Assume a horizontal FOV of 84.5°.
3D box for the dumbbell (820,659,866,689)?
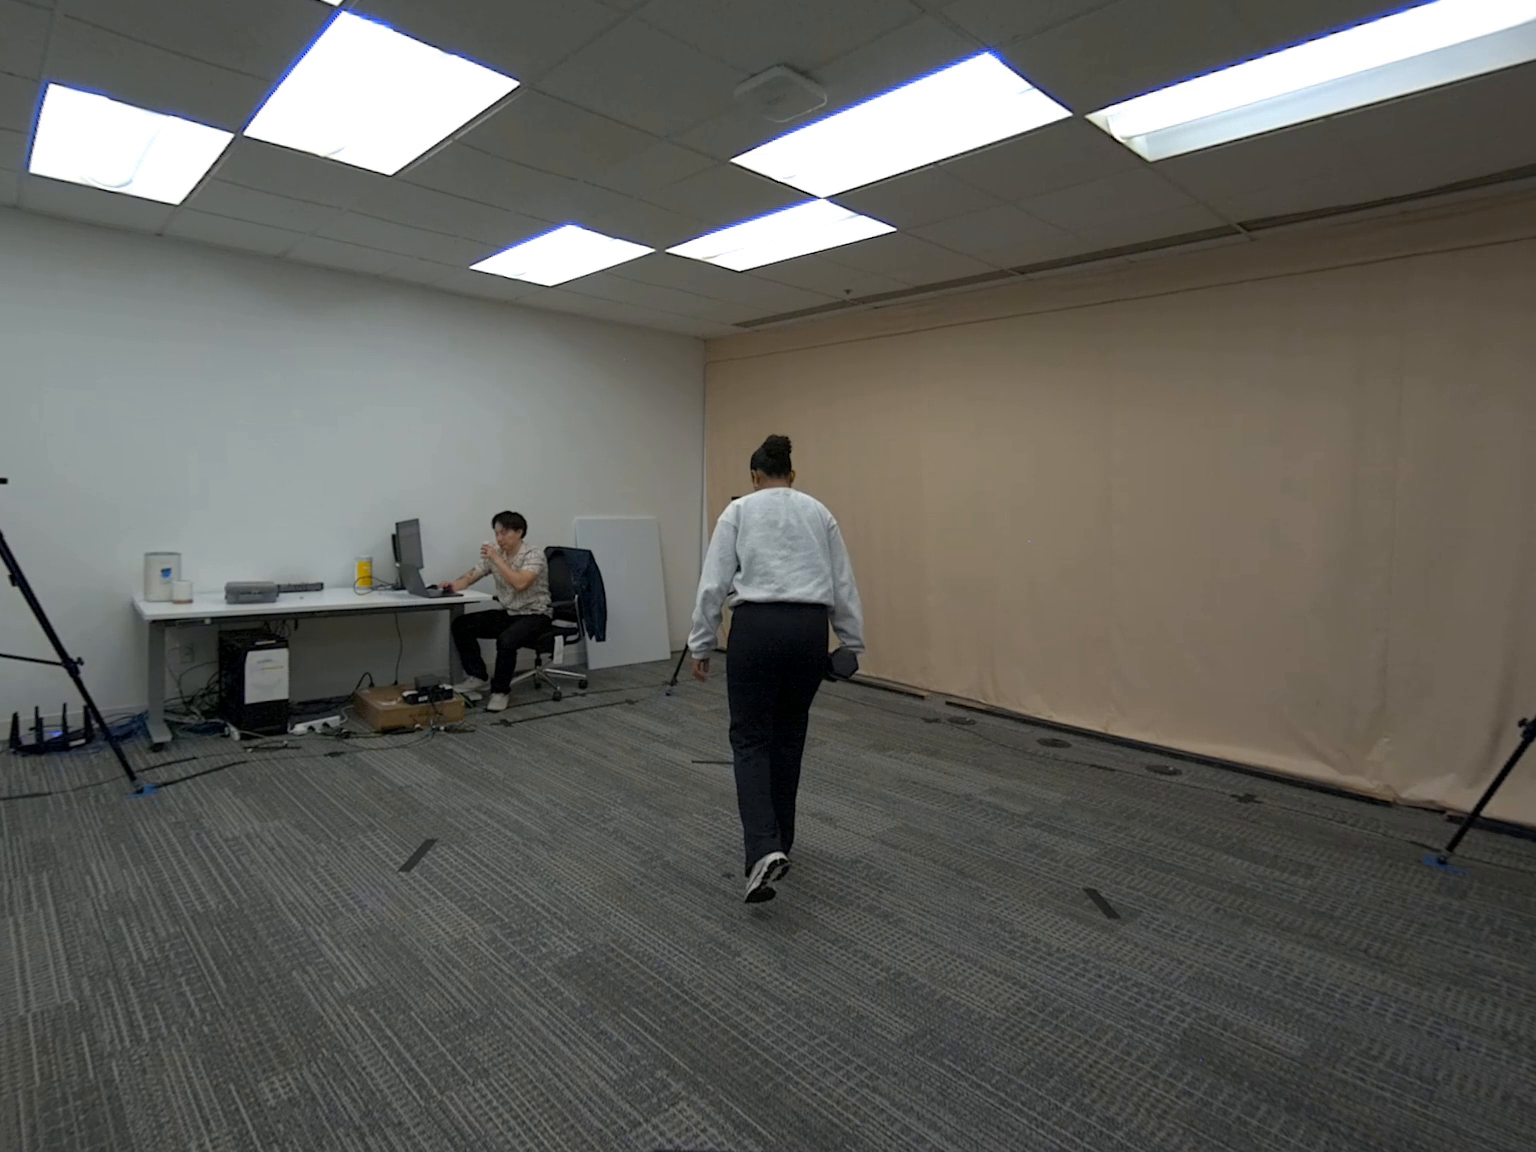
[{"bbox_3d":[0.264,0.351,3.231,0.108,0.124,0.293,-12,-8,-10],"label":"dumbbell"}]
